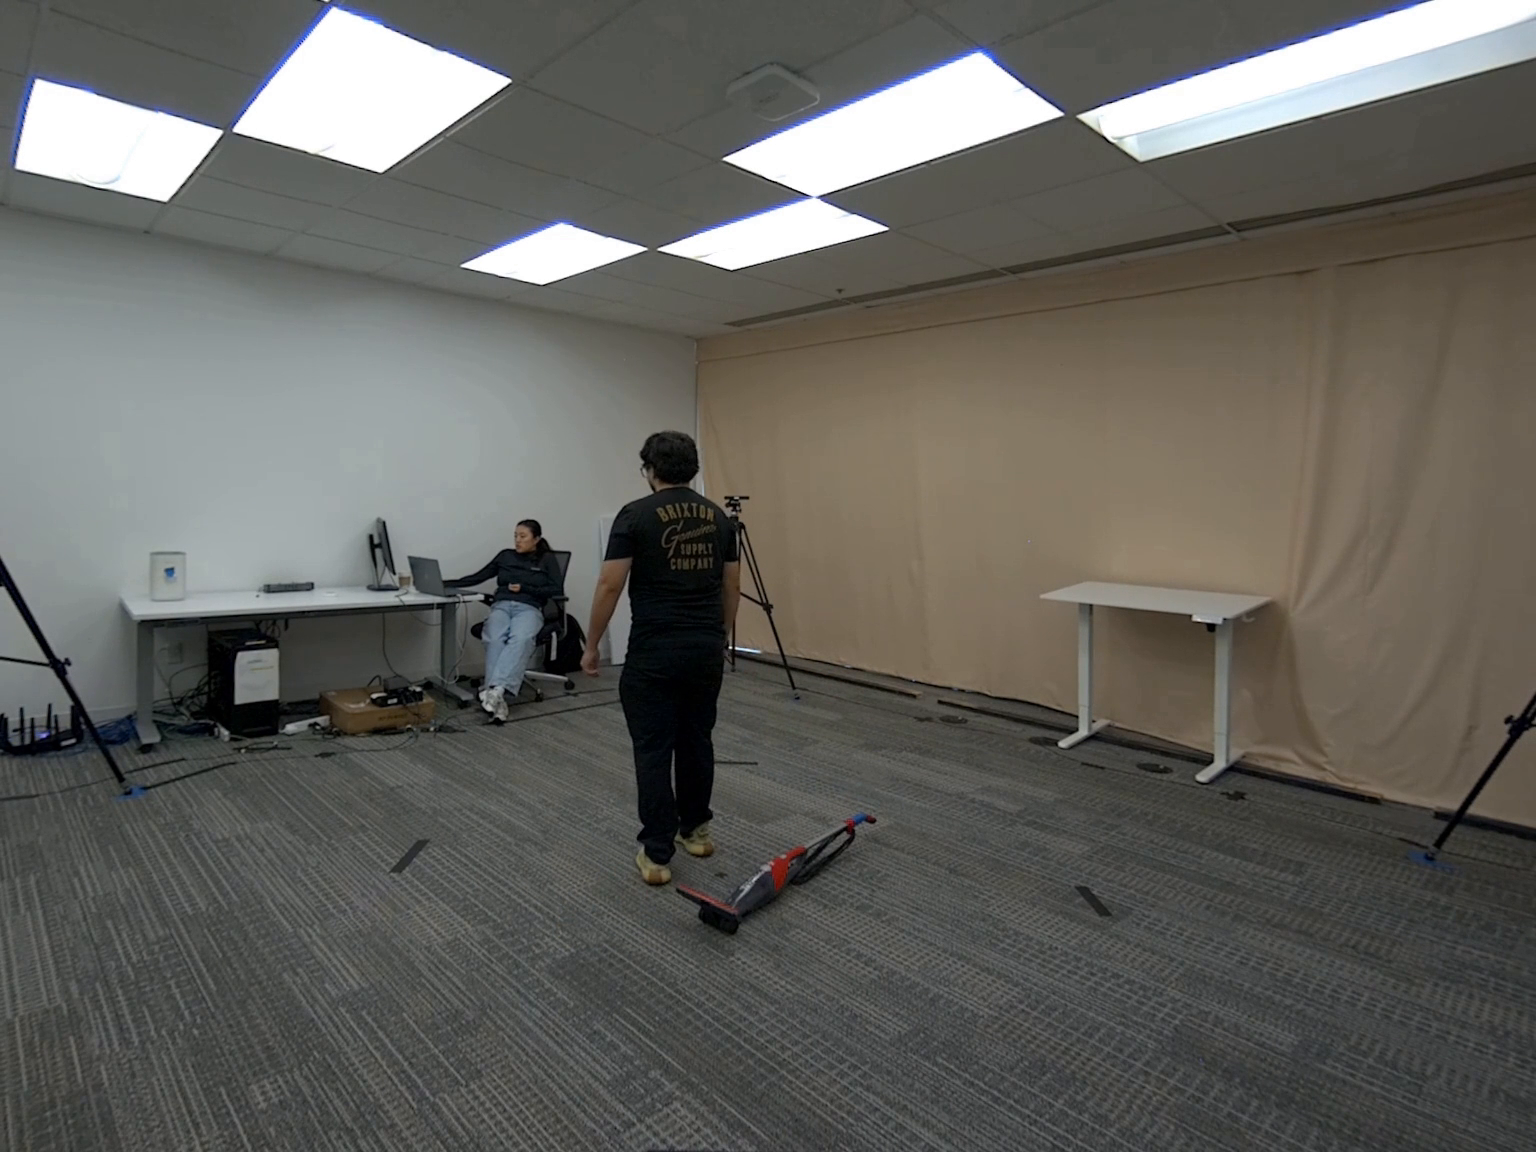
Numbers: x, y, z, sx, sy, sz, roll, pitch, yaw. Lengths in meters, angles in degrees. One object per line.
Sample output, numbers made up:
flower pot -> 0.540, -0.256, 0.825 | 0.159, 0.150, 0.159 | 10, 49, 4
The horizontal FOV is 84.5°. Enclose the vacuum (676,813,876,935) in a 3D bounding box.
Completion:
vacuum -> 0.126, 1.055, 3.092 | 0.259, 0.143, 1.026 | 7, 7, 37
